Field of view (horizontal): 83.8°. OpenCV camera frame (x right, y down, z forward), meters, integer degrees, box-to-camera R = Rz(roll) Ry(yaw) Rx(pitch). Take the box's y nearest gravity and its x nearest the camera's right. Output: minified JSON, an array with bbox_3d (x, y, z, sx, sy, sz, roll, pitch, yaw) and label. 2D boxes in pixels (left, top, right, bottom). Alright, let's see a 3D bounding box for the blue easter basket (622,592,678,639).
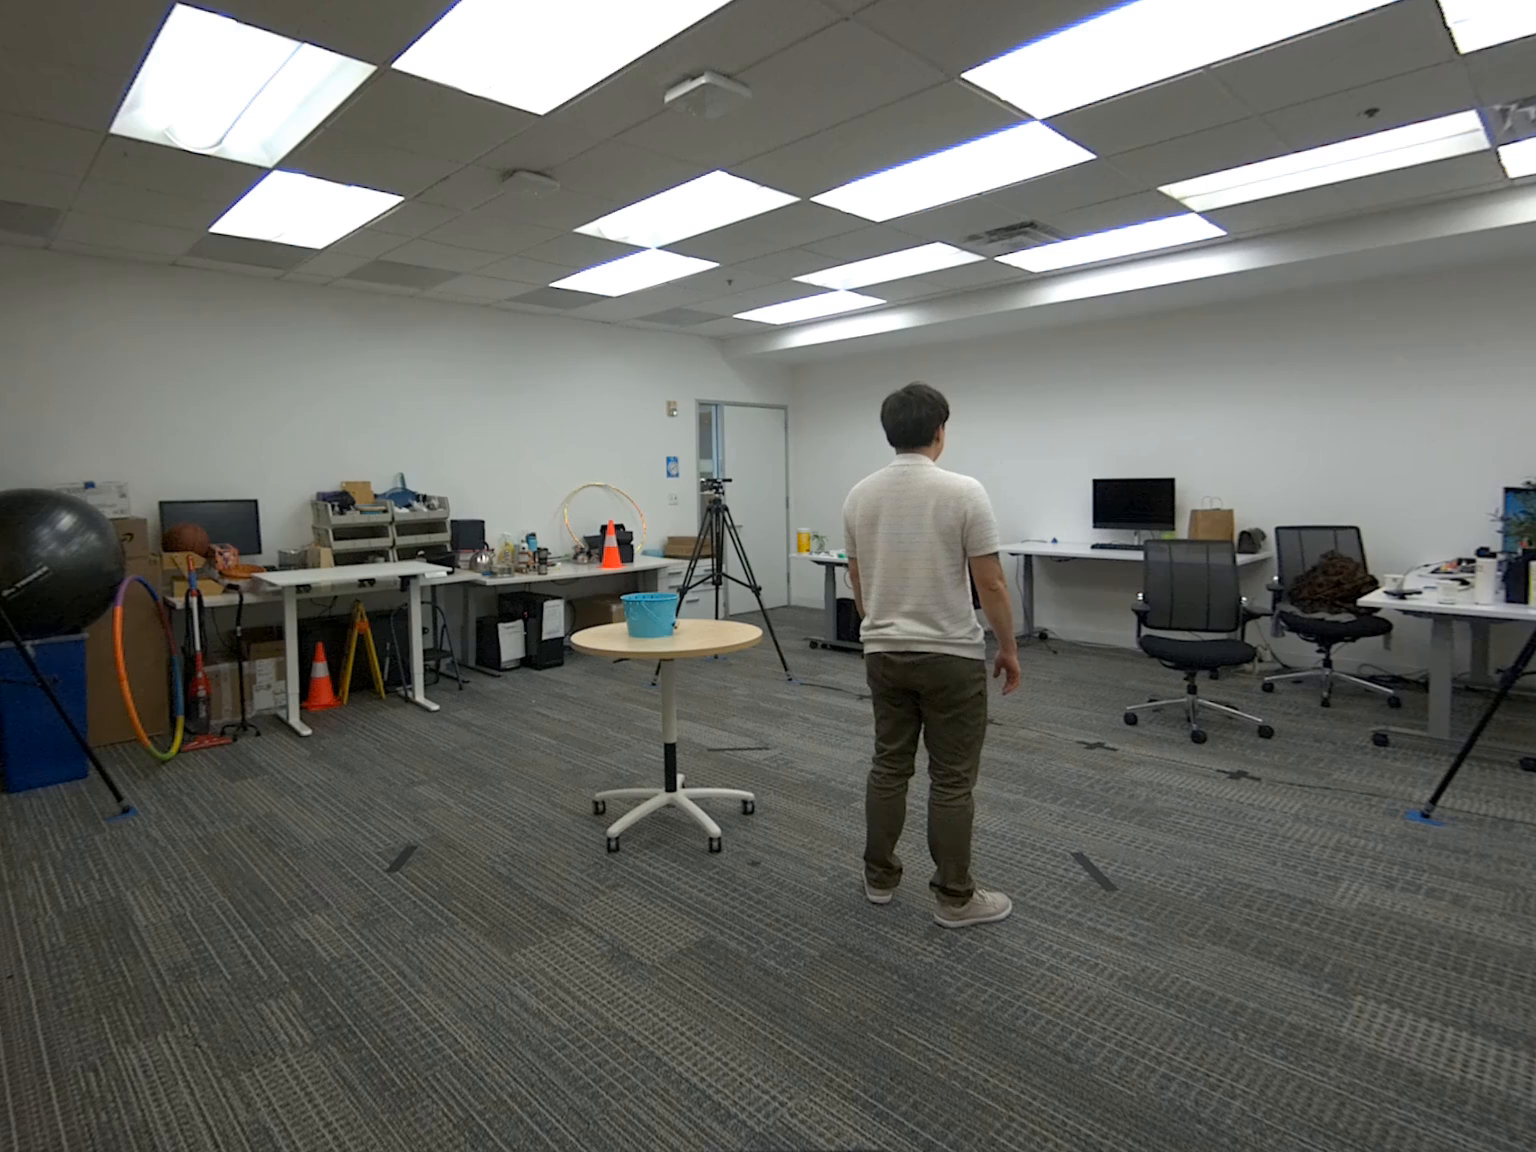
[{"bbox_3d":[-0.473,0.161,3.425,0.243,0.155,0.244,-2,4,-2],"label":"blue easter basket"}]
